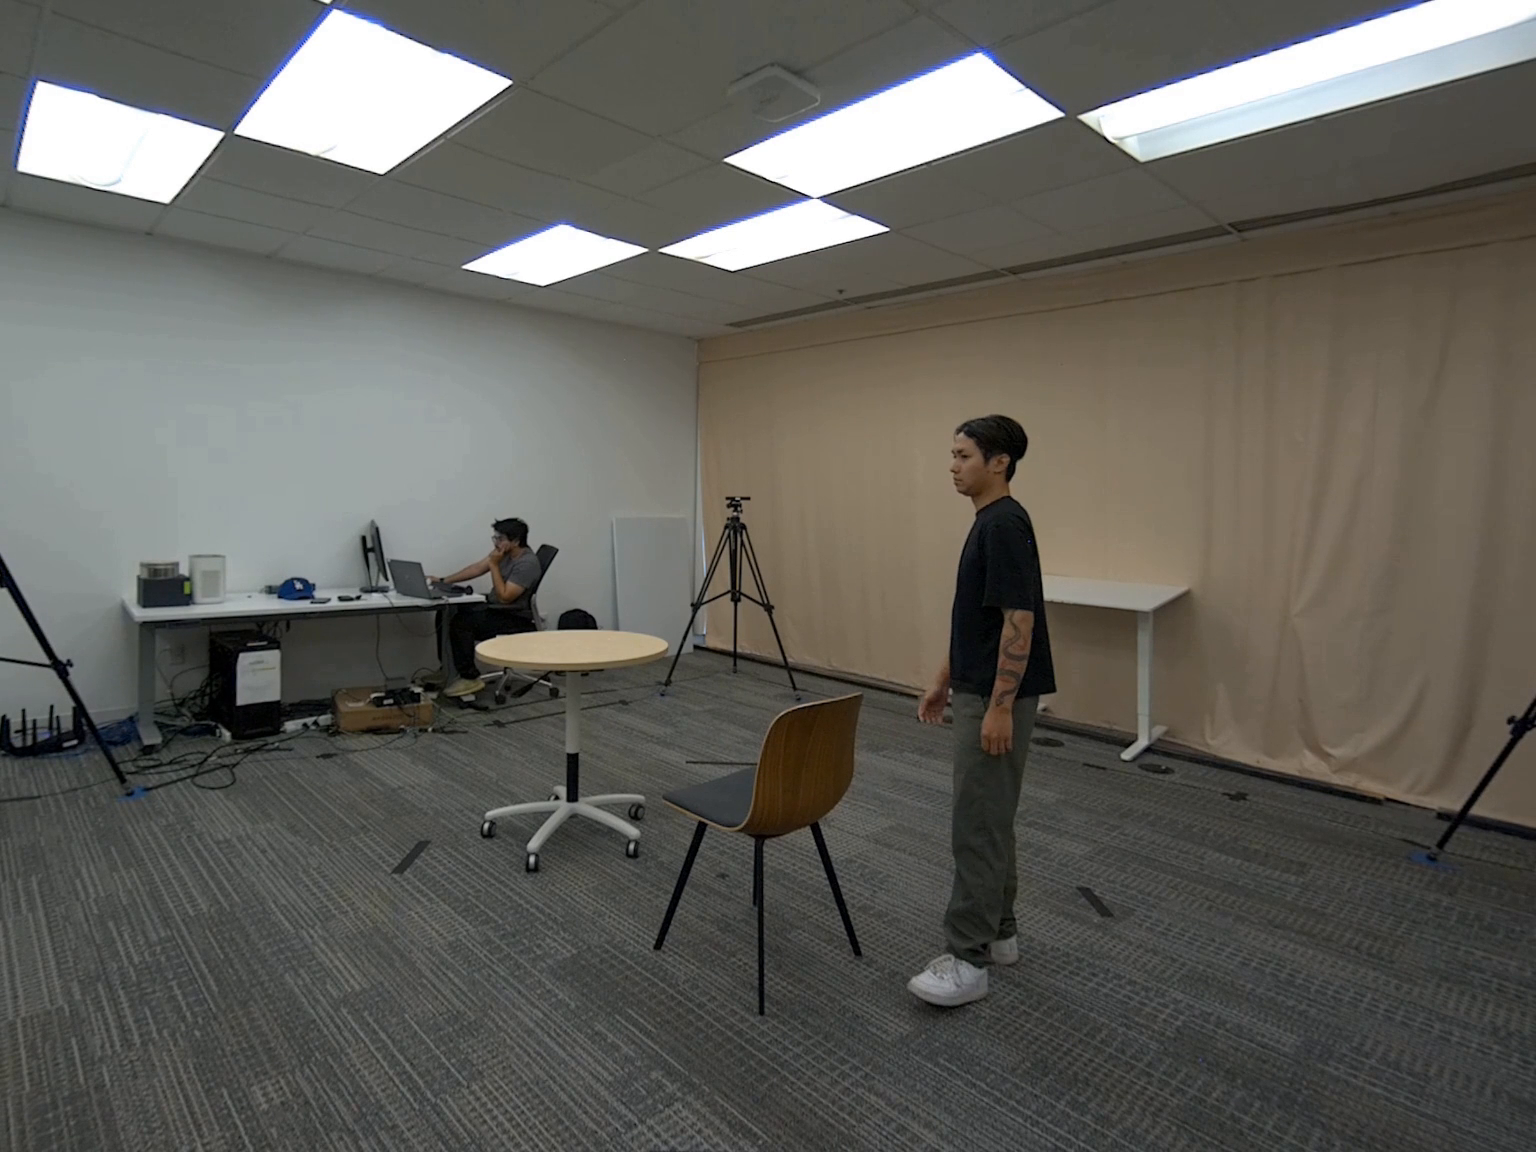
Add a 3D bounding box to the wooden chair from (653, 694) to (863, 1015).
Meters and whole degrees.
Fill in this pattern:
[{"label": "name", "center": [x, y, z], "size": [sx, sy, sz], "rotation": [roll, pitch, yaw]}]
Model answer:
[{"label": "wooden chair", "center": [-0.028, 0.728, 2.556], "size": [0.537, 0.873, 0.467], "rotation": [11, 9, 44]}]
